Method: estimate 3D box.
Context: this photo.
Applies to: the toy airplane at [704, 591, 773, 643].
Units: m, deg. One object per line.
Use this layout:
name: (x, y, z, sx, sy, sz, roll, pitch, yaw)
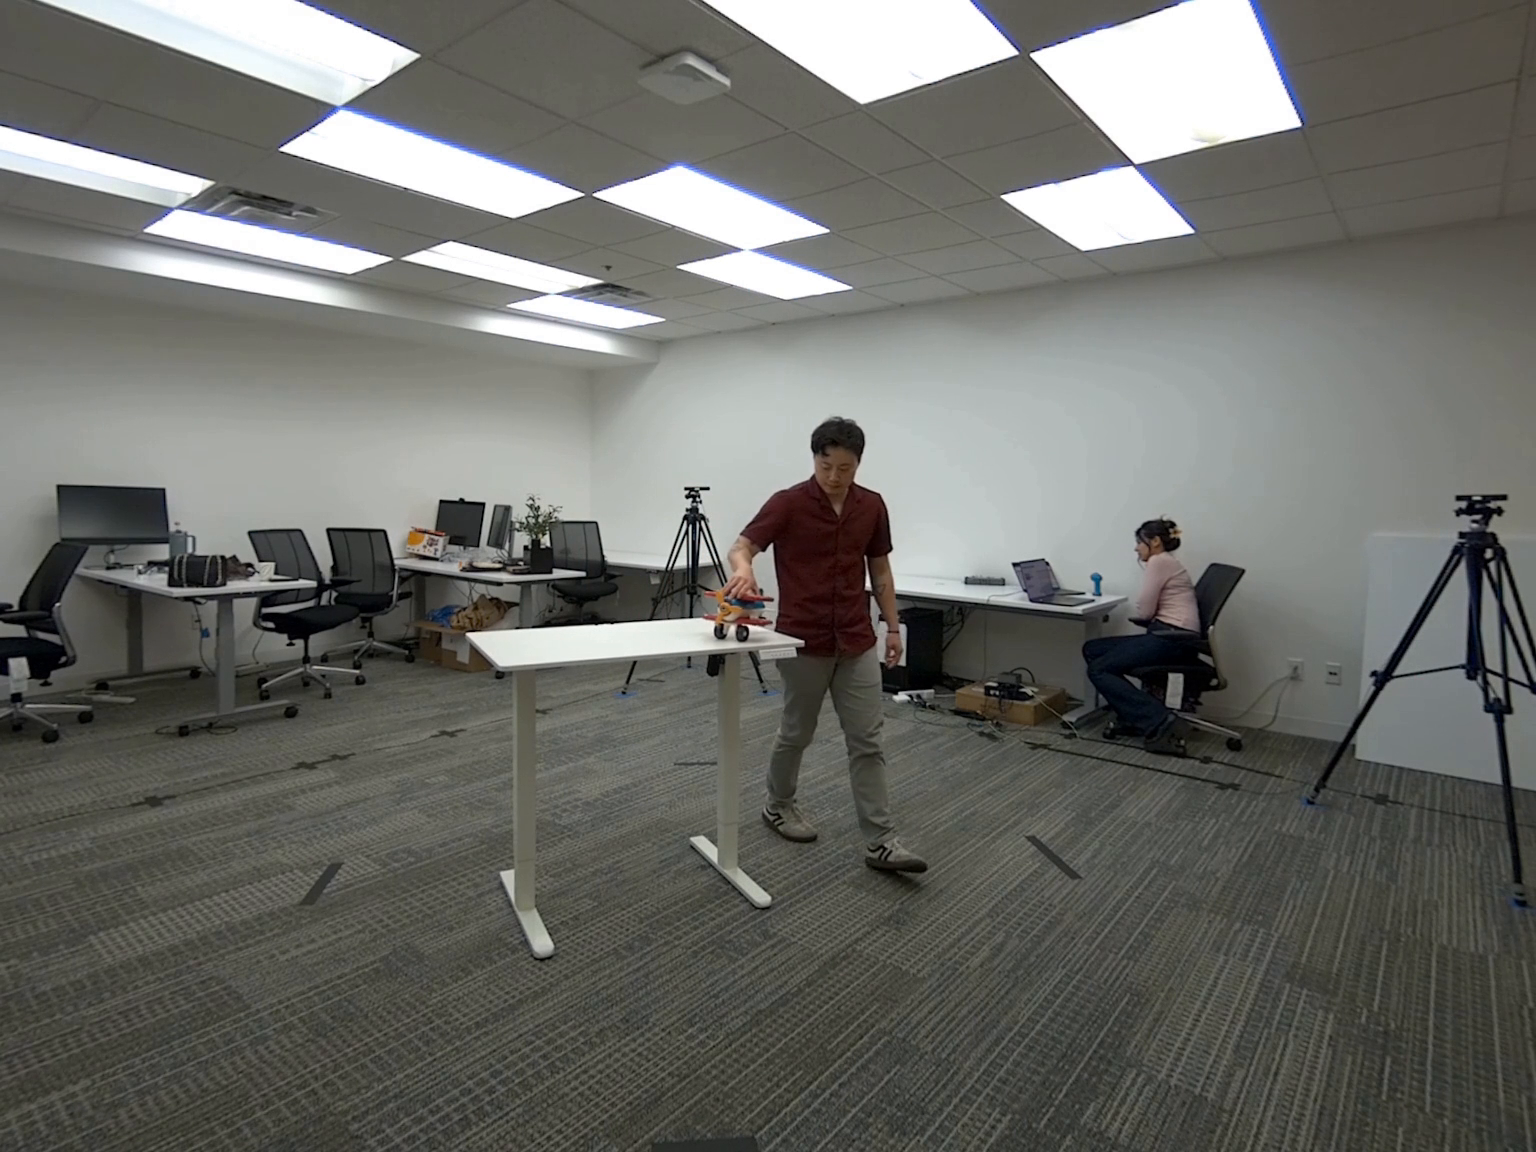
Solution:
toy airplane: (-0.112, 0.119, 2.904, 0.252, 0.155, 0.261, -3, 12, 3)
